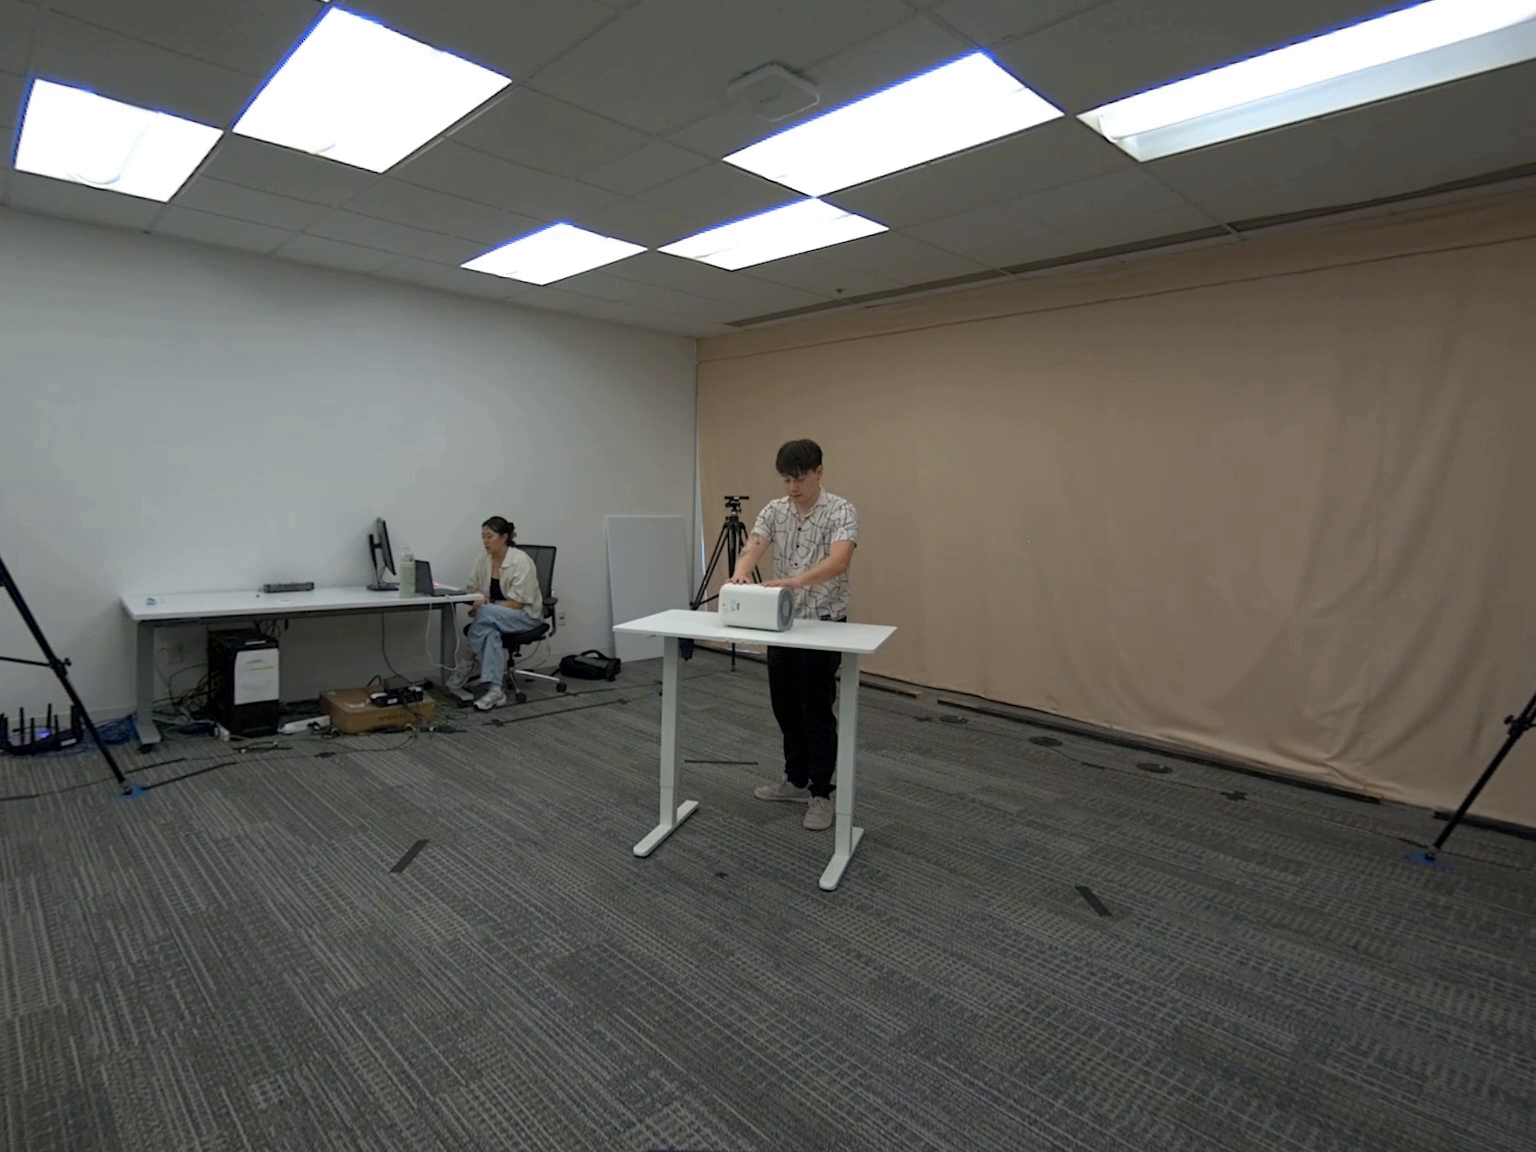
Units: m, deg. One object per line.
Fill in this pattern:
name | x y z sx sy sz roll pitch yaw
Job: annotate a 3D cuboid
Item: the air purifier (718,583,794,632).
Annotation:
air purifier | -0.057 0.117 3.317 0.271 0.171 0.168 5 2 26
